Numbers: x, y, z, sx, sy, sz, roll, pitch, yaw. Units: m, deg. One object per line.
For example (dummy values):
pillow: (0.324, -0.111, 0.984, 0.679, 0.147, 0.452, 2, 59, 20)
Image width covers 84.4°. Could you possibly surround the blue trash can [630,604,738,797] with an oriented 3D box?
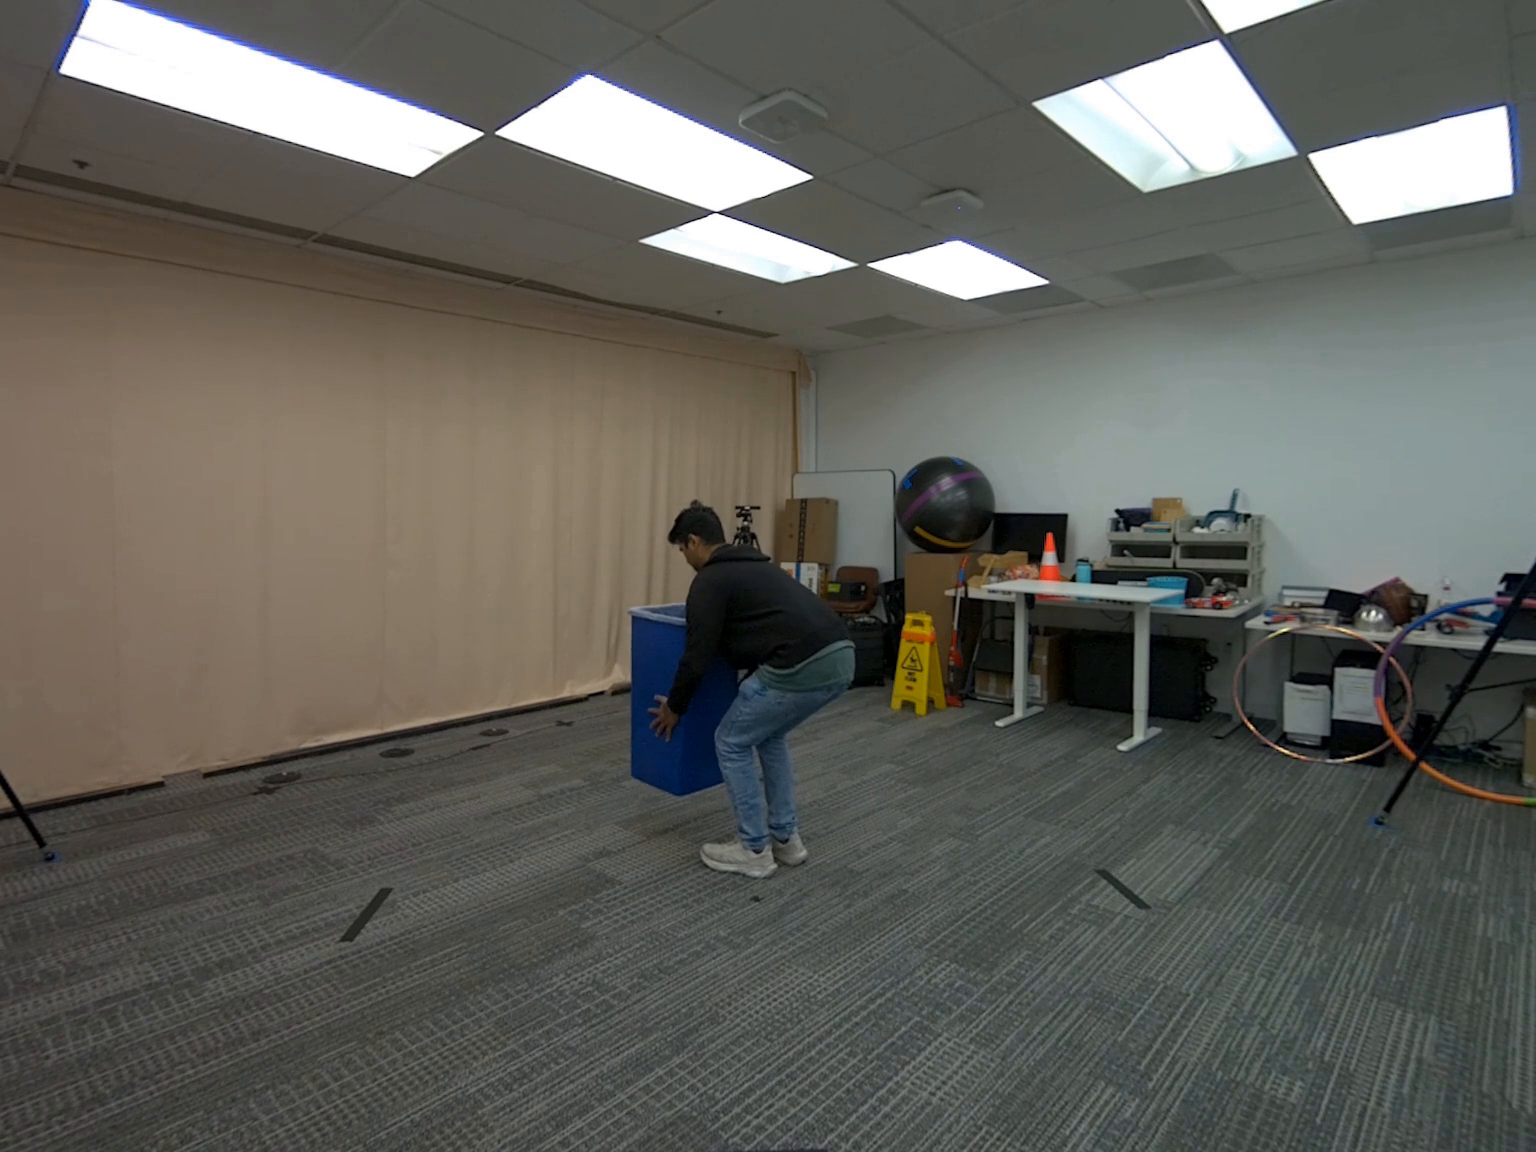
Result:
blue trash can: (-0.355, 0.492, 3.522, 0.387, 0.712, 0.366, 6, 5, 40)
